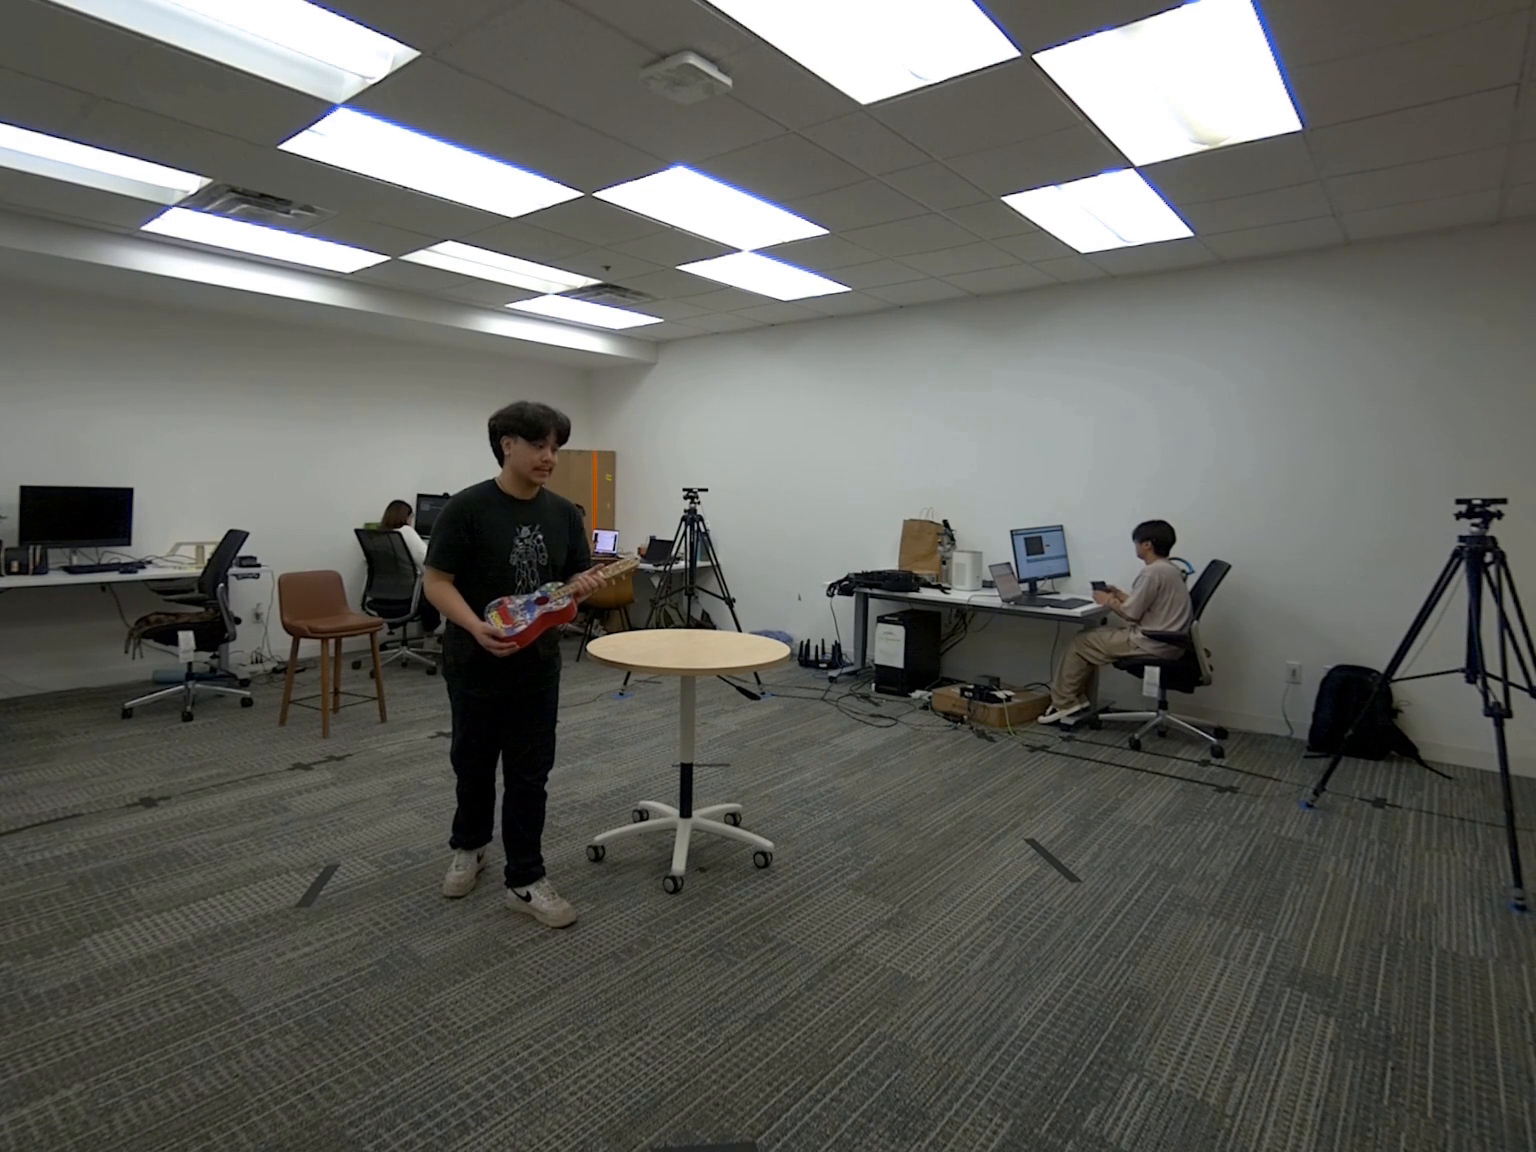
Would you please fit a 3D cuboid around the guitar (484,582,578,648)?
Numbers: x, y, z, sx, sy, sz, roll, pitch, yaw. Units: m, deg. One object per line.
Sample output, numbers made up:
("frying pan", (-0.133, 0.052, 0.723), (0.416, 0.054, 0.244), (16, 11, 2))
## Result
("guitar", (-0.631, 0.080, 2.612), (0.493, 0.068, 0.201), (-19, 40, -14))
